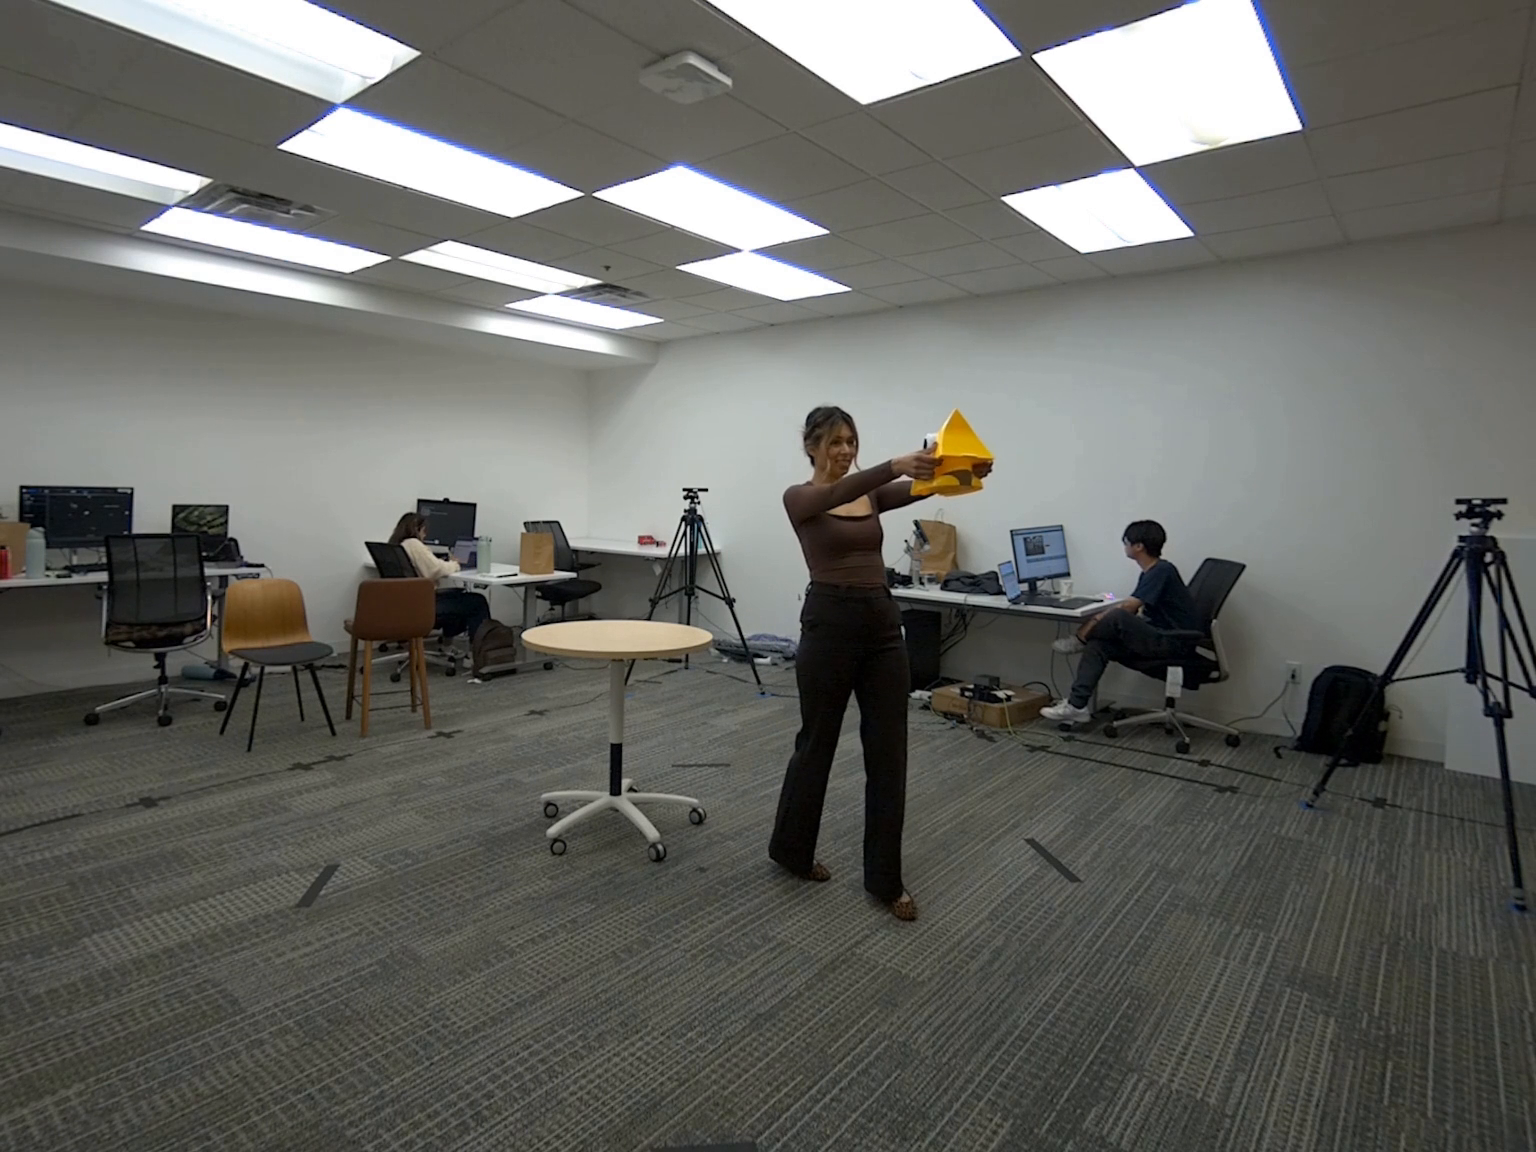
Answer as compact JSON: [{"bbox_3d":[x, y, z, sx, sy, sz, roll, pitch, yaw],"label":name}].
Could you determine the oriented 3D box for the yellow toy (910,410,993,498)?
[{"bbox_3d":[0.514,-0.367,2.495,0.199,0.232,0.197,1,-8,-29],"label":"yellow toy"}]
